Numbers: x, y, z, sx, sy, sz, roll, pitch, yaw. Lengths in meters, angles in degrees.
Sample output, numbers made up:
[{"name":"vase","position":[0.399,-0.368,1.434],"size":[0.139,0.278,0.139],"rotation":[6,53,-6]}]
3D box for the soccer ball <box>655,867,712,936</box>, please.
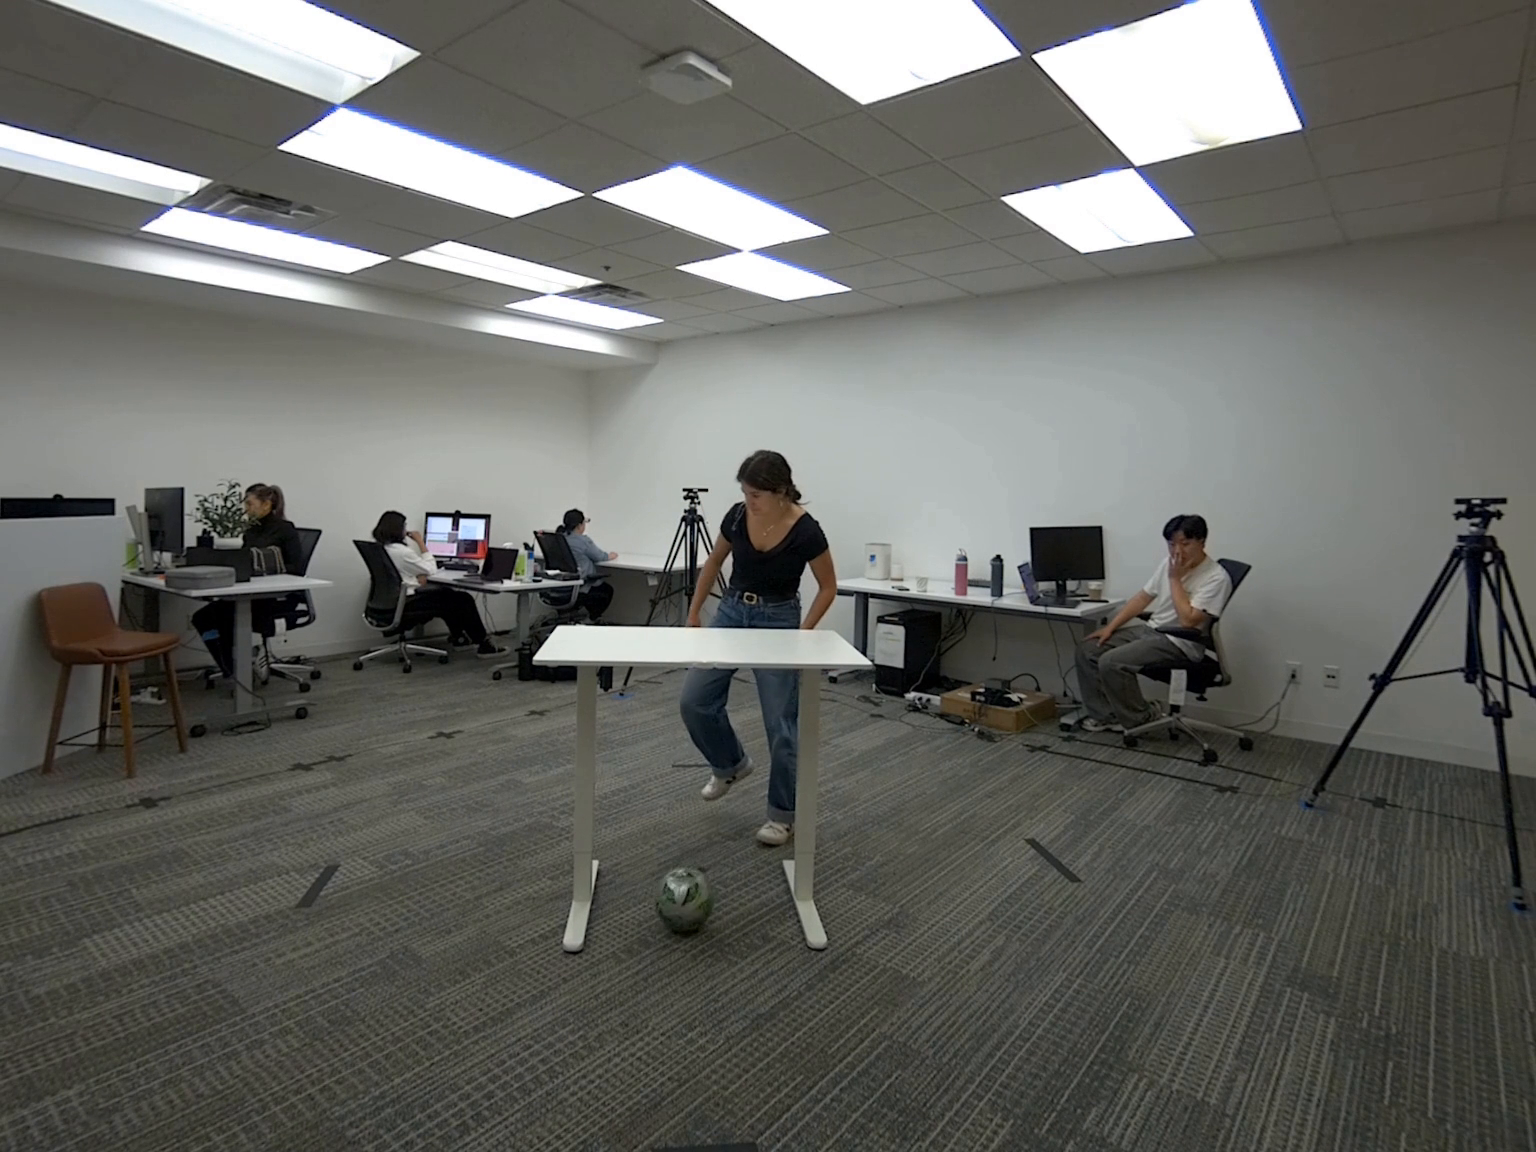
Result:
[{"name":"soccer ball","position":[-0.265,1.015,2.679],"size":[0.187,0.187,0.188],"rotation":[1,4,-2]}]
